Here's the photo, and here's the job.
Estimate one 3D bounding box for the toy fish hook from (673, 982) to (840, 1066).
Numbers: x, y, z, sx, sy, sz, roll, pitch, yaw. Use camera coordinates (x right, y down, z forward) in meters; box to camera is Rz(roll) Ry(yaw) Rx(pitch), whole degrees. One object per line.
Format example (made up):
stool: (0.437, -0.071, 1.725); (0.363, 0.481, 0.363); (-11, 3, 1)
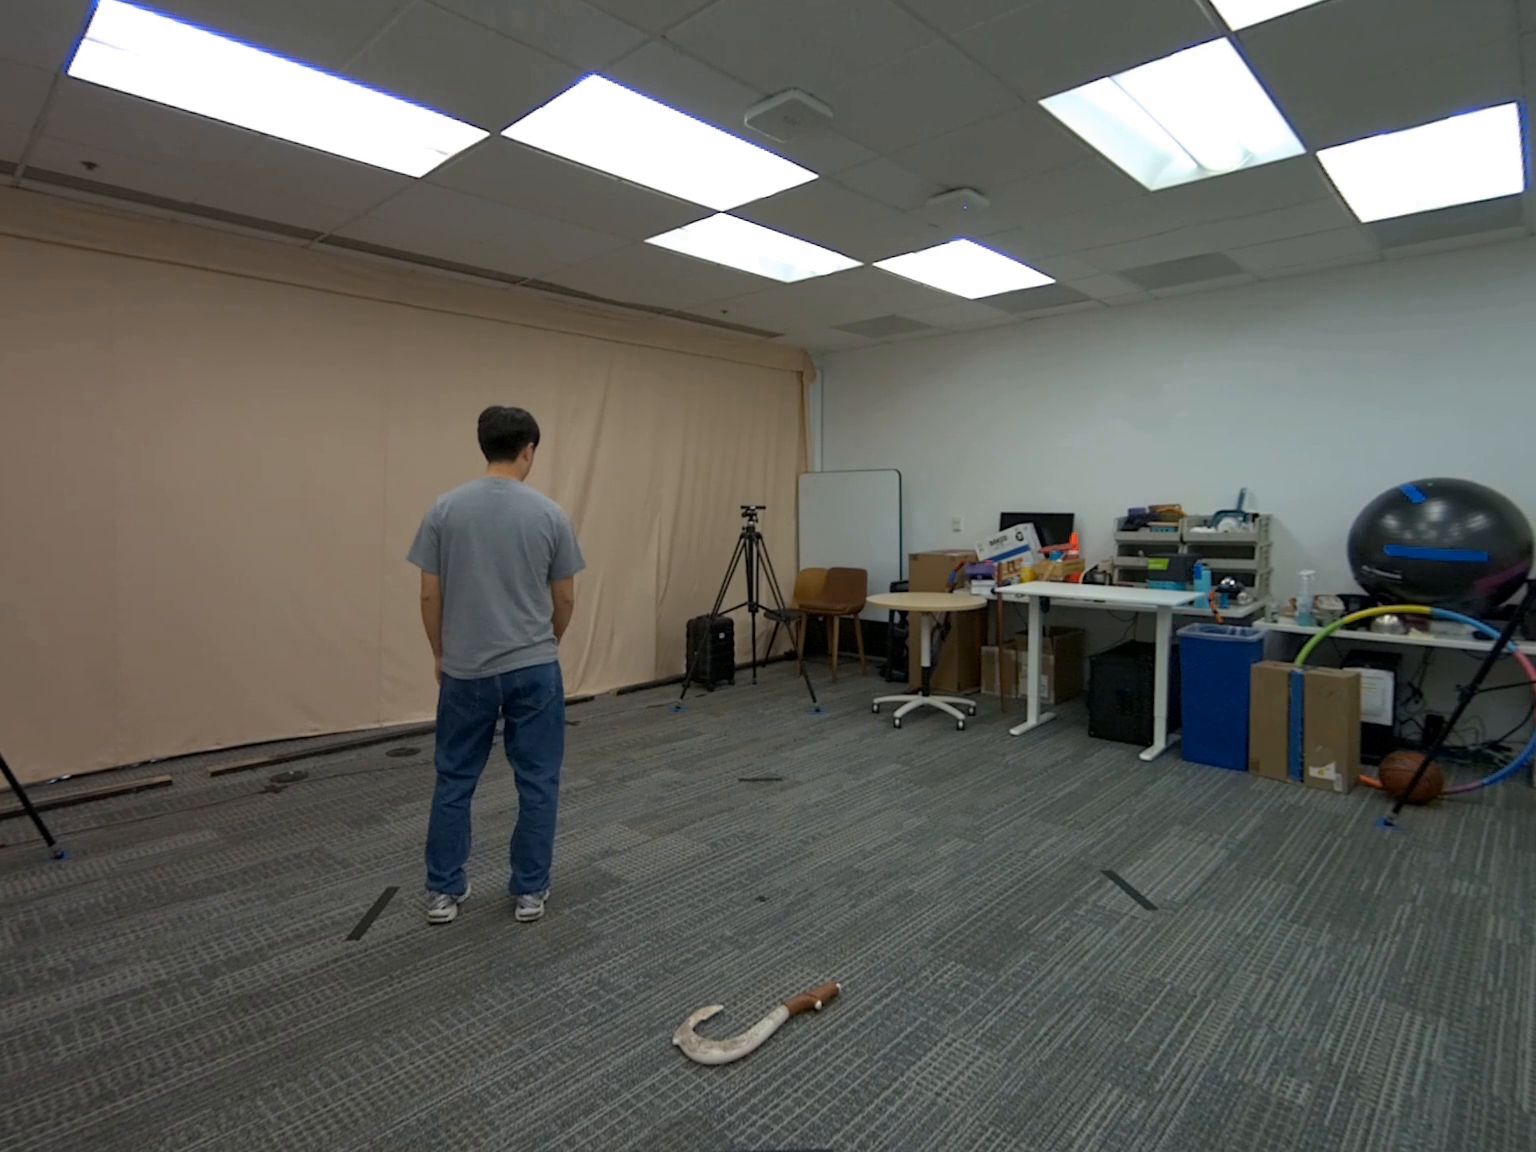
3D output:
toy fish hook: (-0.021, 1.180, 2.279); (0.491, 0.048, 0.232); (-3, 6, -38)
